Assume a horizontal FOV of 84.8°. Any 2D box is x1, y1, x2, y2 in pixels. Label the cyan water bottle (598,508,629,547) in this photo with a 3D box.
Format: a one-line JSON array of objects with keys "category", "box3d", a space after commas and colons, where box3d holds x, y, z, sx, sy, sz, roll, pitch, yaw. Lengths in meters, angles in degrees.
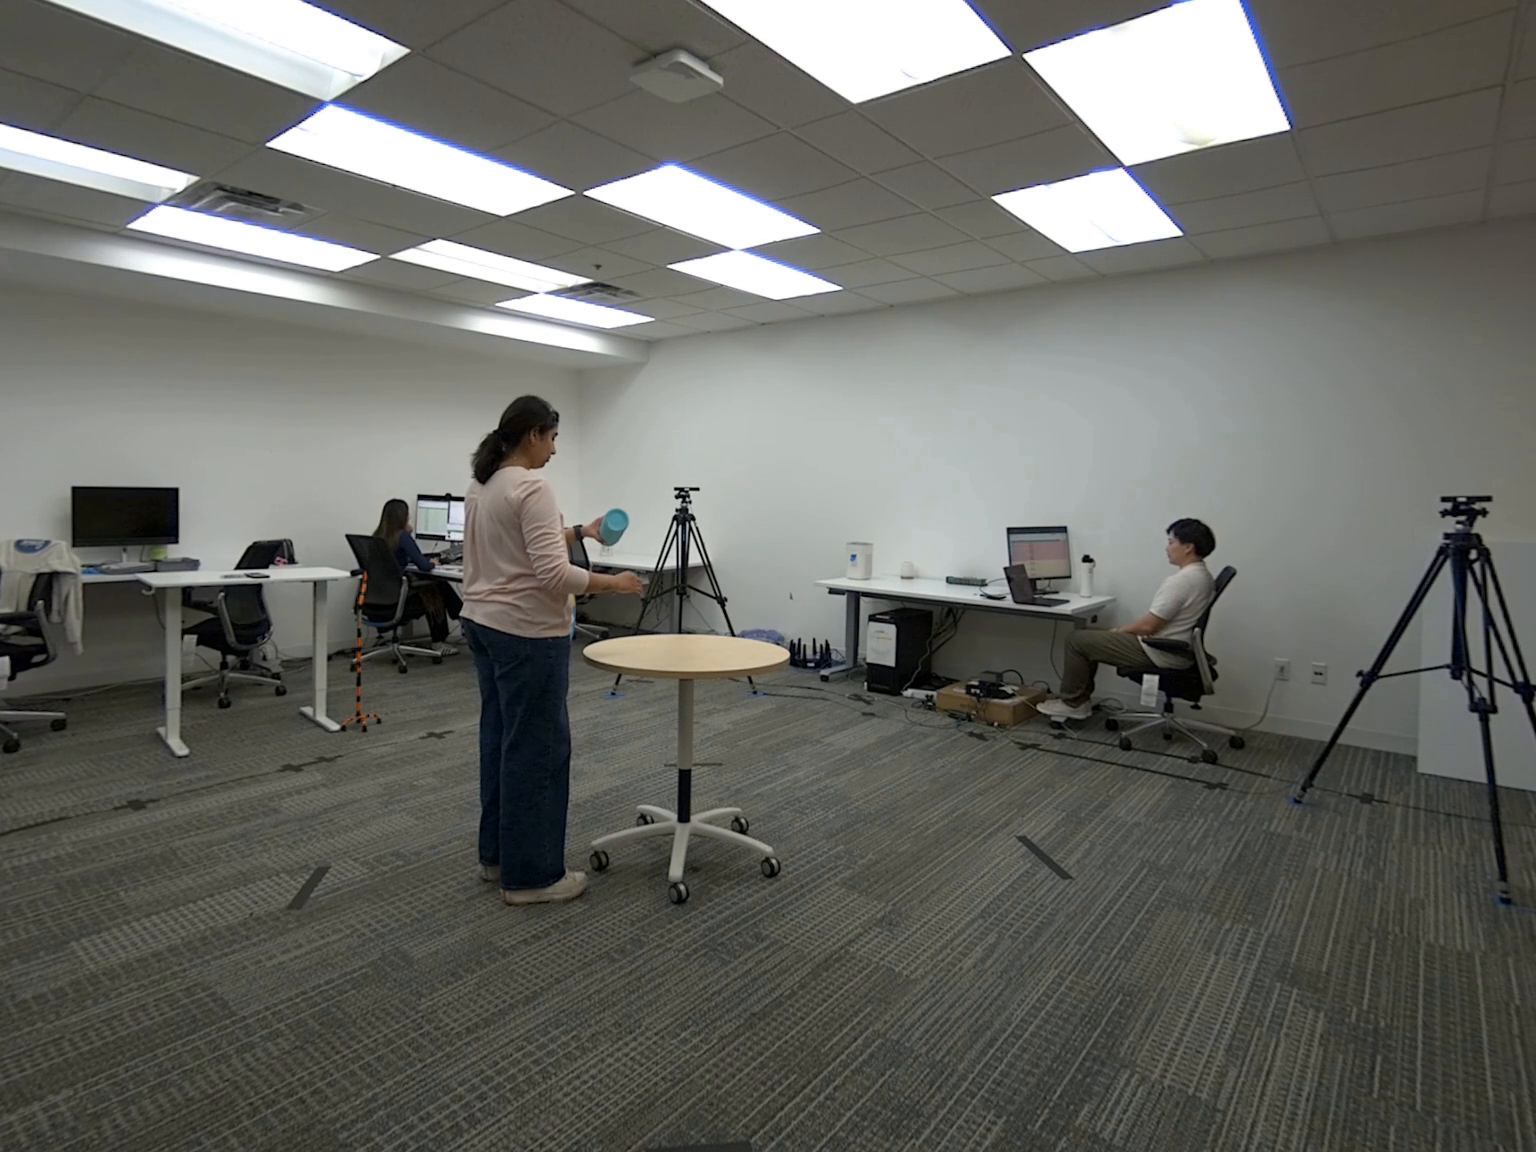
[{"category": "cyan water bottle", "box3d": [-0.594, -0.173, 3.165, 0.091, 0.093, 0.283, 0, -13, -15]}]
